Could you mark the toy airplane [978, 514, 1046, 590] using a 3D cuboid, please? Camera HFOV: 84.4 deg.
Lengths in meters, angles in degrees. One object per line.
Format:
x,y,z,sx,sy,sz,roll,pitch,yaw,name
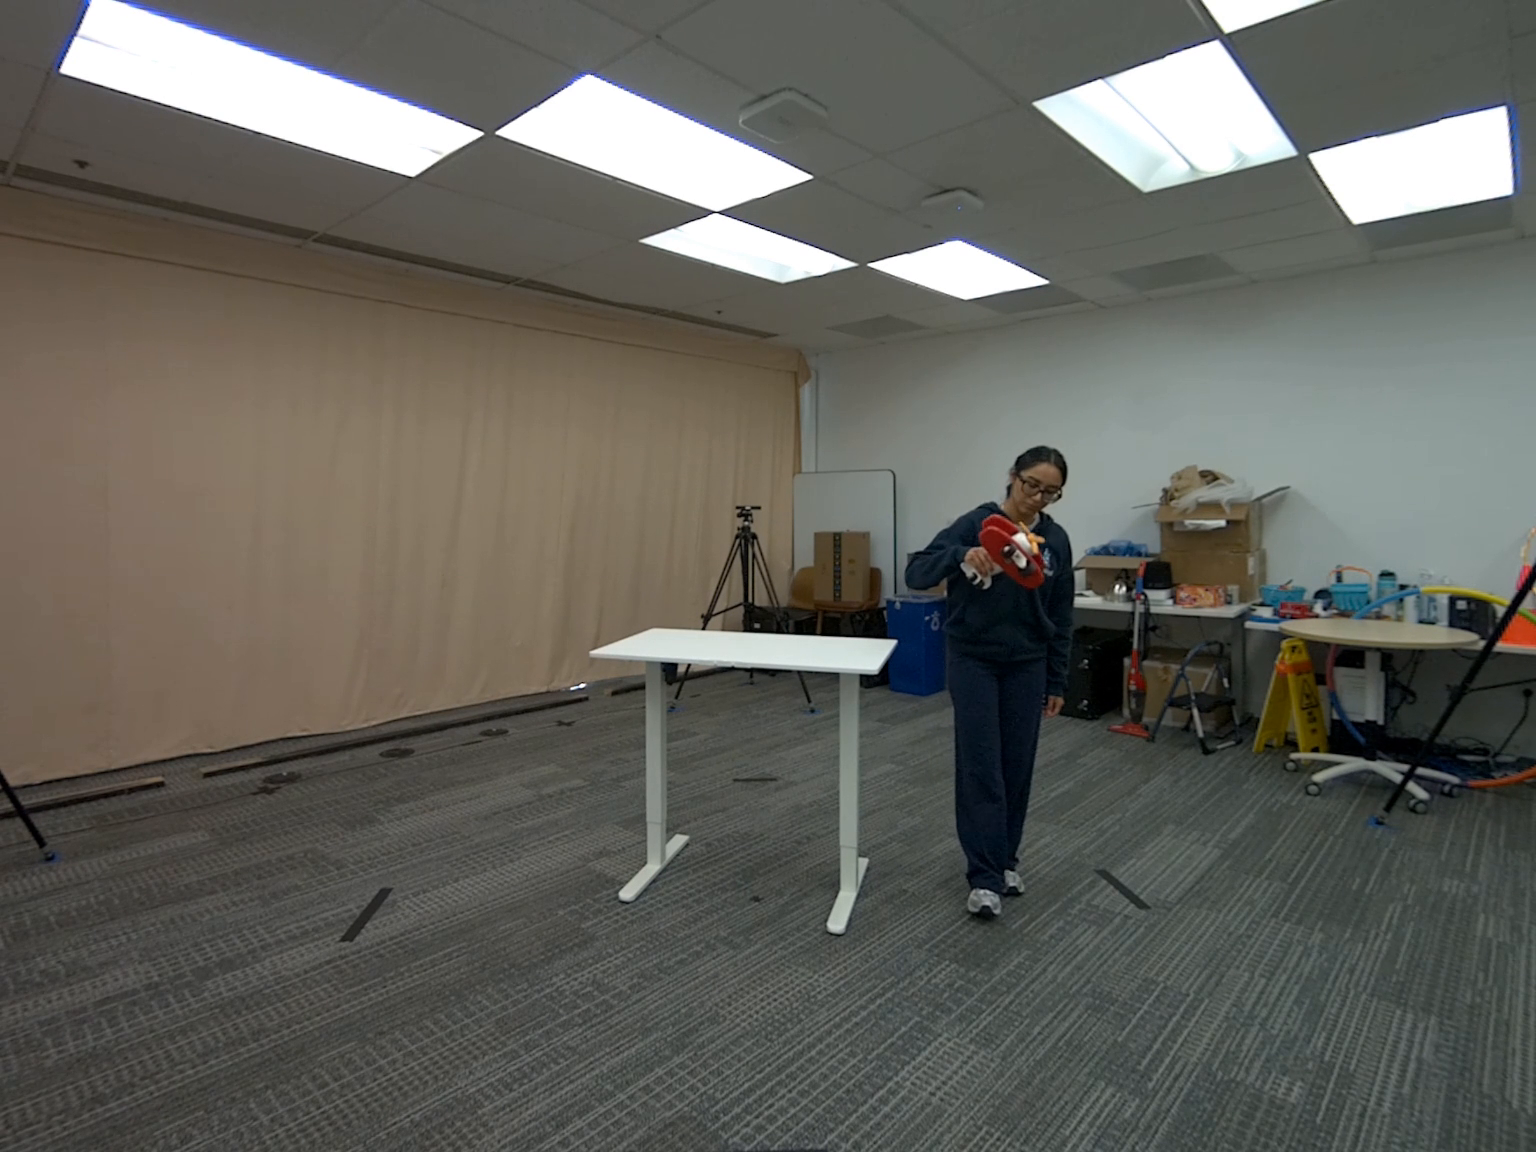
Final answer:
0.754,-0.076,2.736,0.267,0.244,0.155,0,40,41,toy airplane
